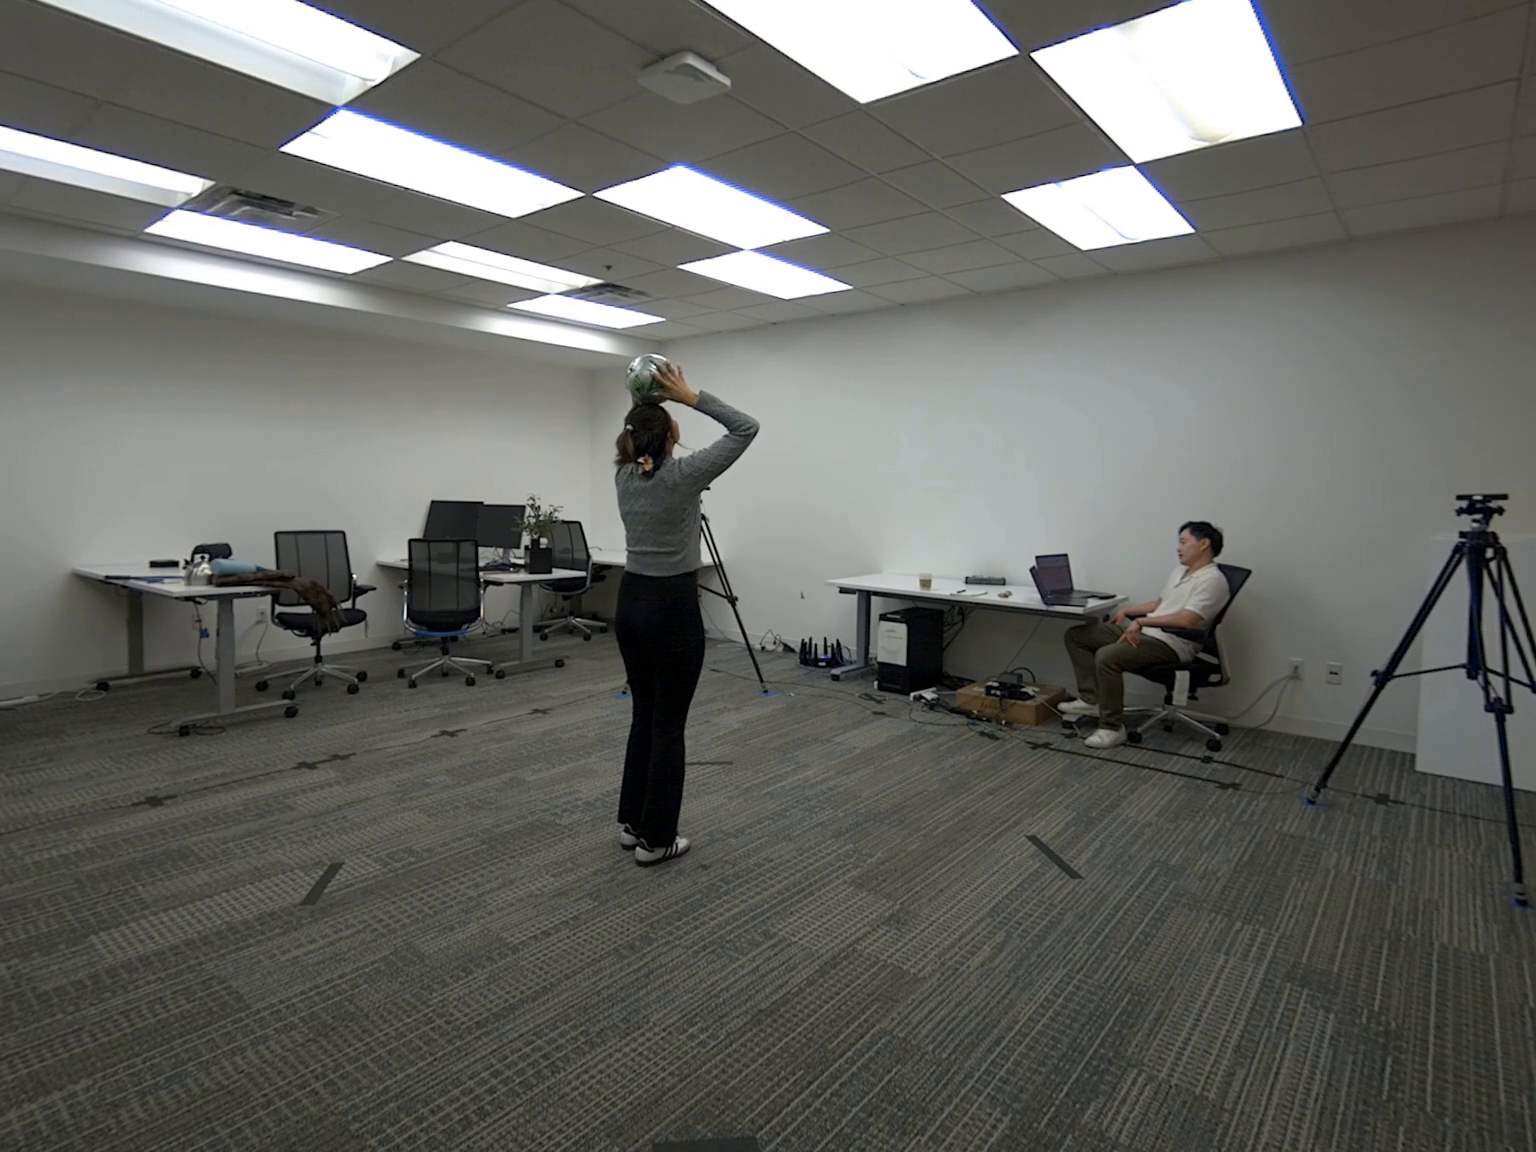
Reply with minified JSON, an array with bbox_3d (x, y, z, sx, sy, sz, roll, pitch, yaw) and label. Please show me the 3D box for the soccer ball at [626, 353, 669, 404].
[{"bbox_3d":[-0.439,-0.727,3.145,0.187,0.187,0.188,1,4,-2],"label":"soccer ball"}]
